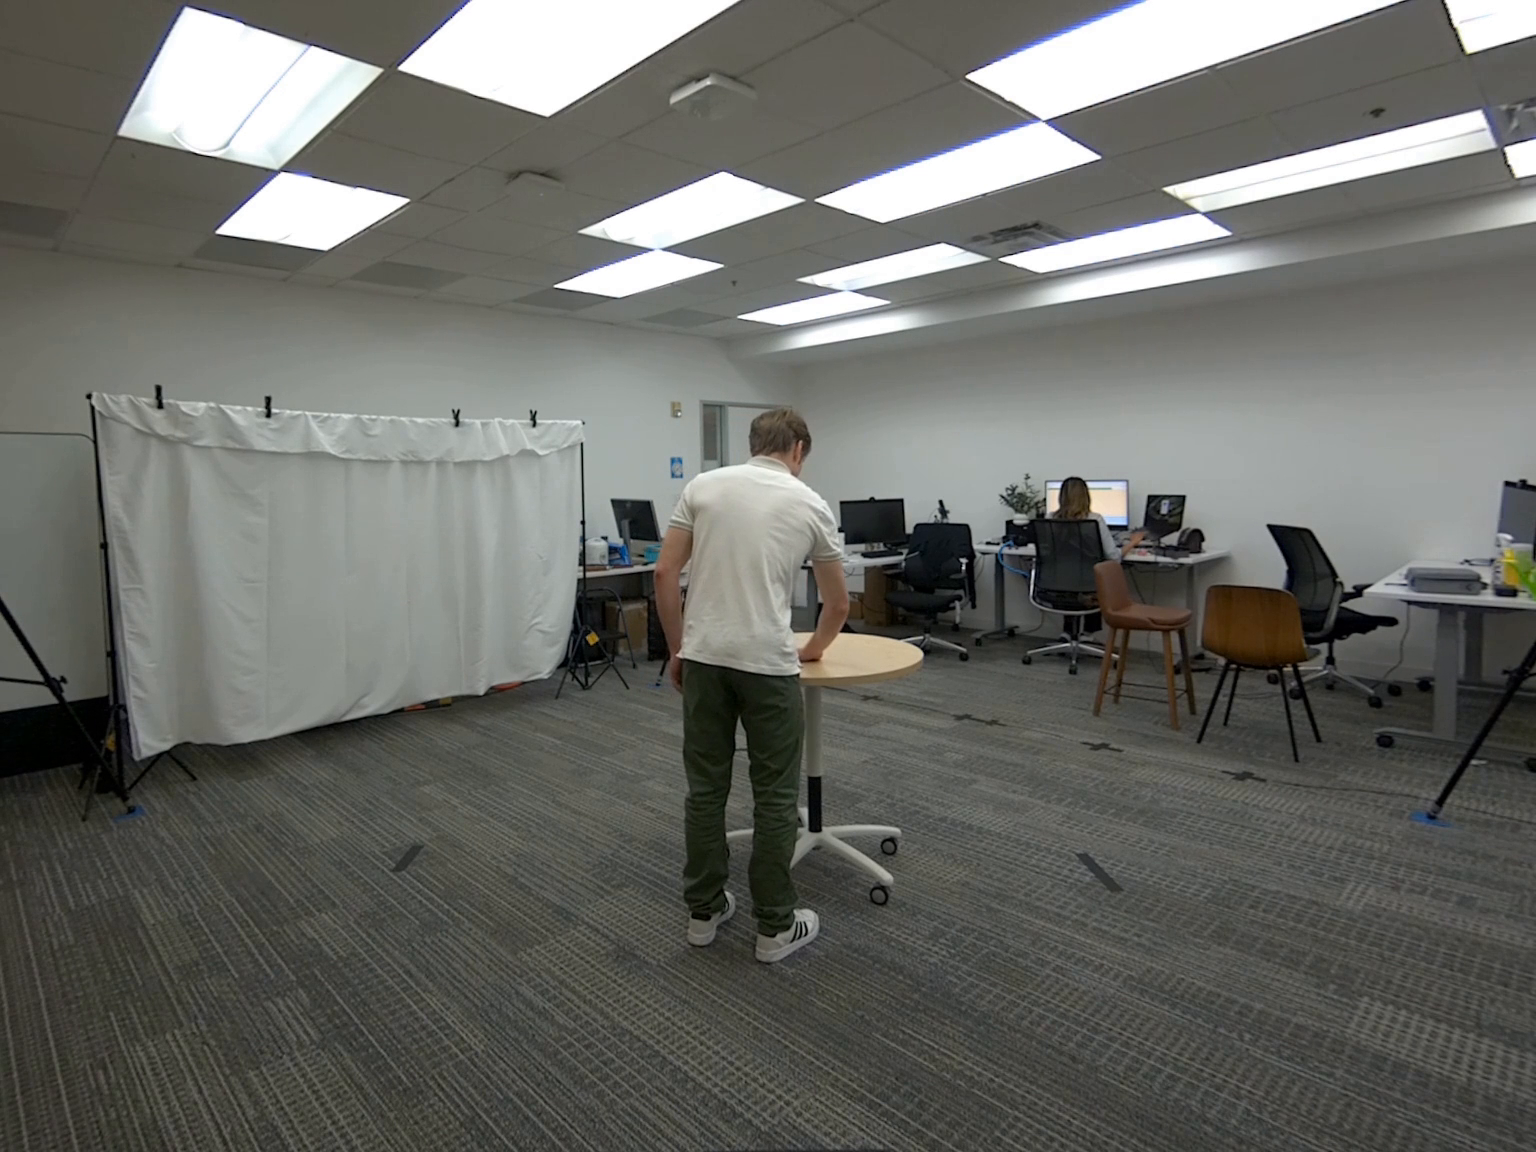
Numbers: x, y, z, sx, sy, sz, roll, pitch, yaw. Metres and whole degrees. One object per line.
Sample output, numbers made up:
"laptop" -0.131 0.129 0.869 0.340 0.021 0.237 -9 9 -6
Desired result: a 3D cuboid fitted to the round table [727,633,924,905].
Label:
"round table" 0.181 0.656 3.046 0.784 0.783 0.789 -2 5 -2
